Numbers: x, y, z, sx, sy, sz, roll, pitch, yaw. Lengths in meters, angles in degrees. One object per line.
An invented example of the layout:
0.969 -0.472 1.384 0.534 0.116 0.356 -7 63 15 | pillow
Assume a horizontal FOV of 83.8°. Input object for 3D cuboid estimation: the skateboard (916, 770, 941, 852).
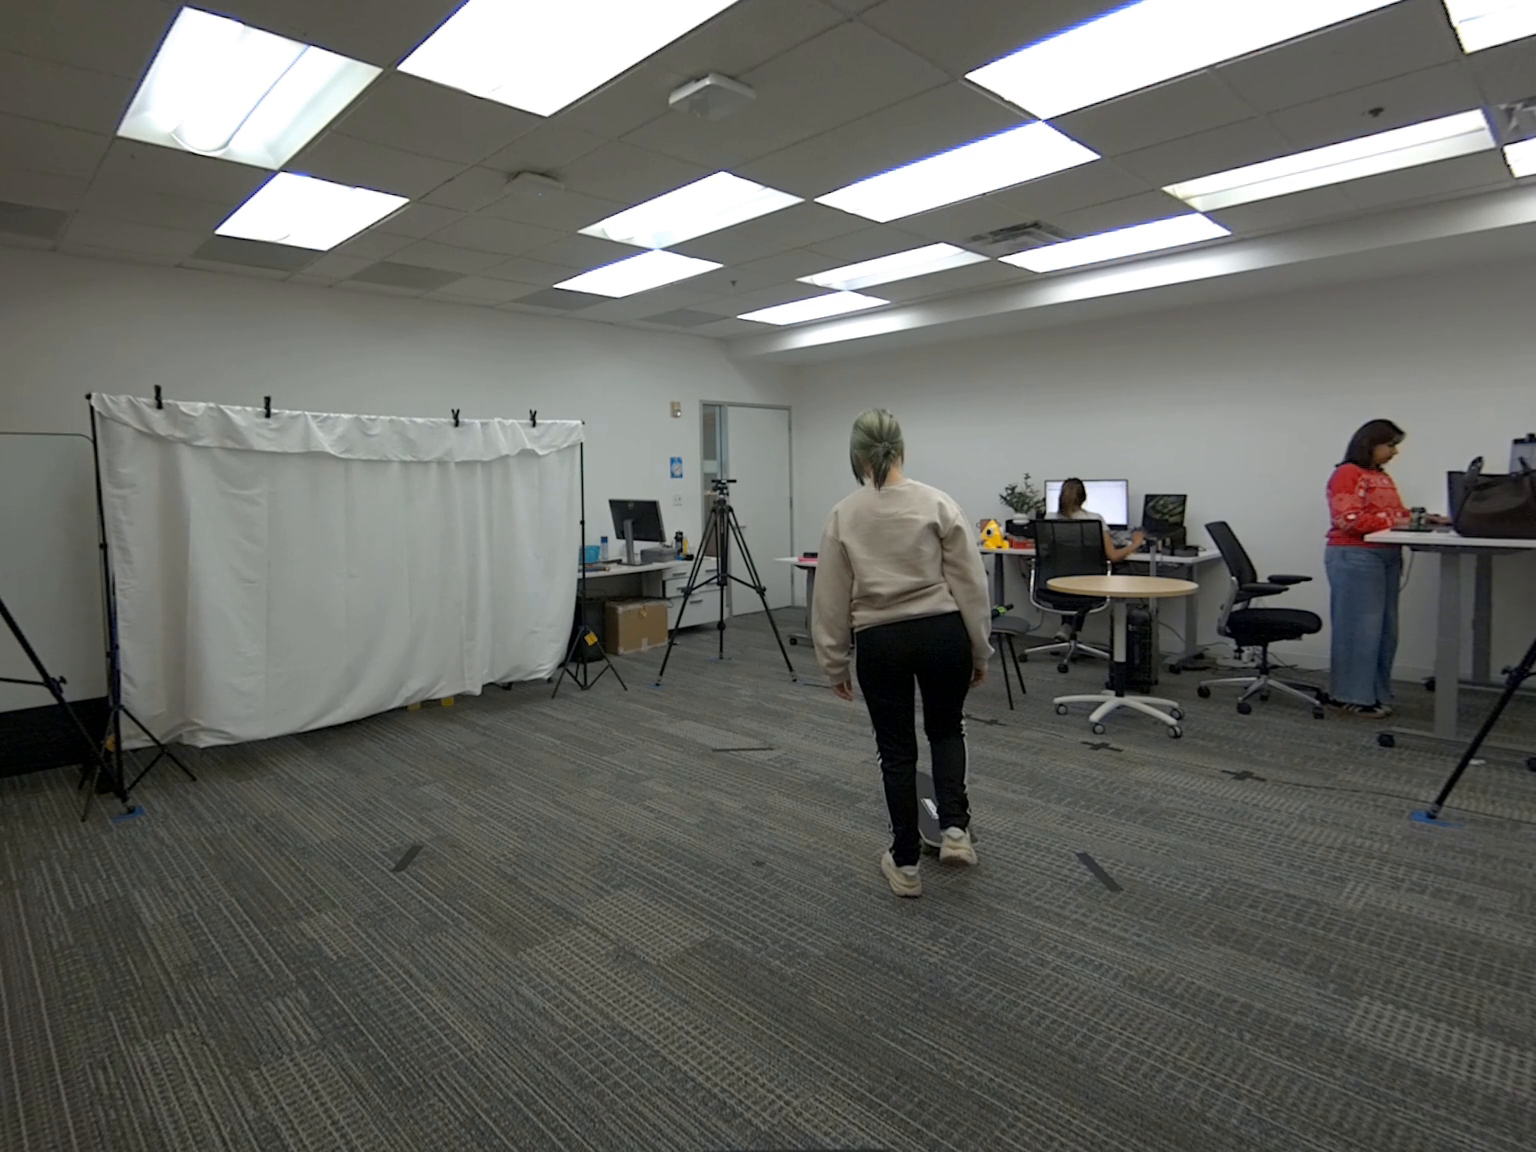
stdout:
0.652 0.950 3.371 0.193 0.110 0.790 0 6 -3 | skateboard
